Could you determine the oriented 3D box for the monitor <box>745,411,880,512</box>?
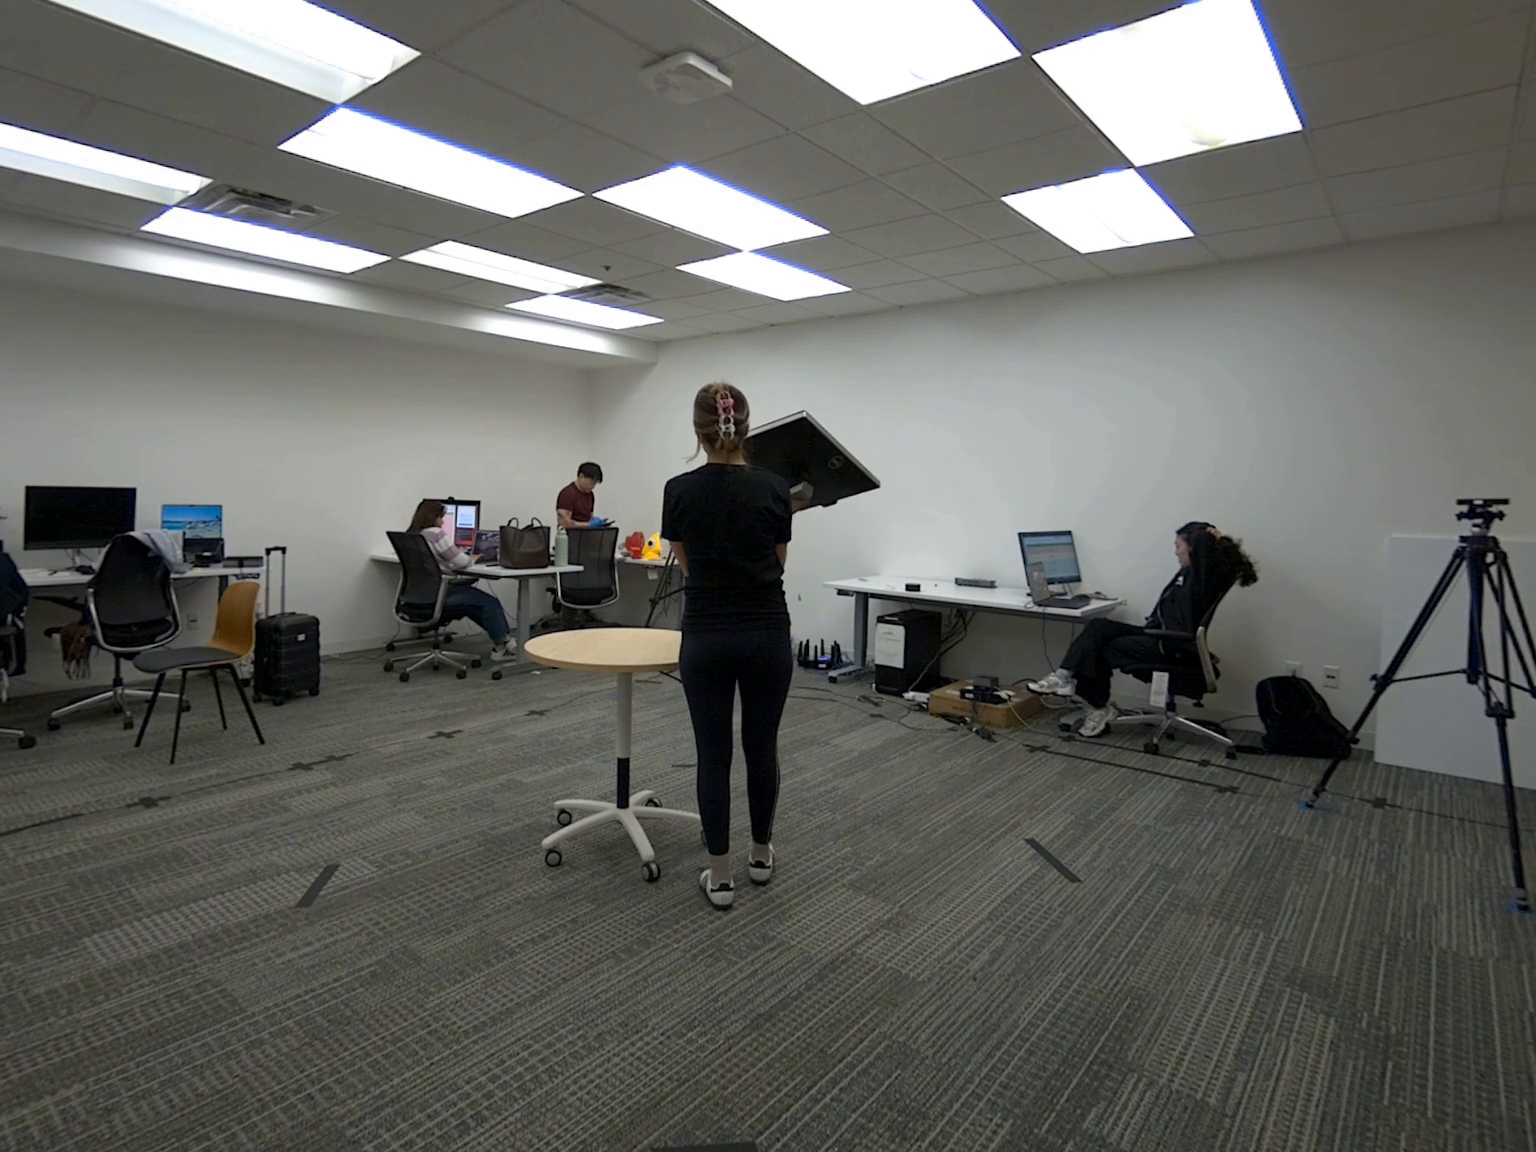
[{"bbox_3d":[0.039,-0.334,3.123,0.528,0.193,0.517,-27,-34,23],"label":"monitor"}]
